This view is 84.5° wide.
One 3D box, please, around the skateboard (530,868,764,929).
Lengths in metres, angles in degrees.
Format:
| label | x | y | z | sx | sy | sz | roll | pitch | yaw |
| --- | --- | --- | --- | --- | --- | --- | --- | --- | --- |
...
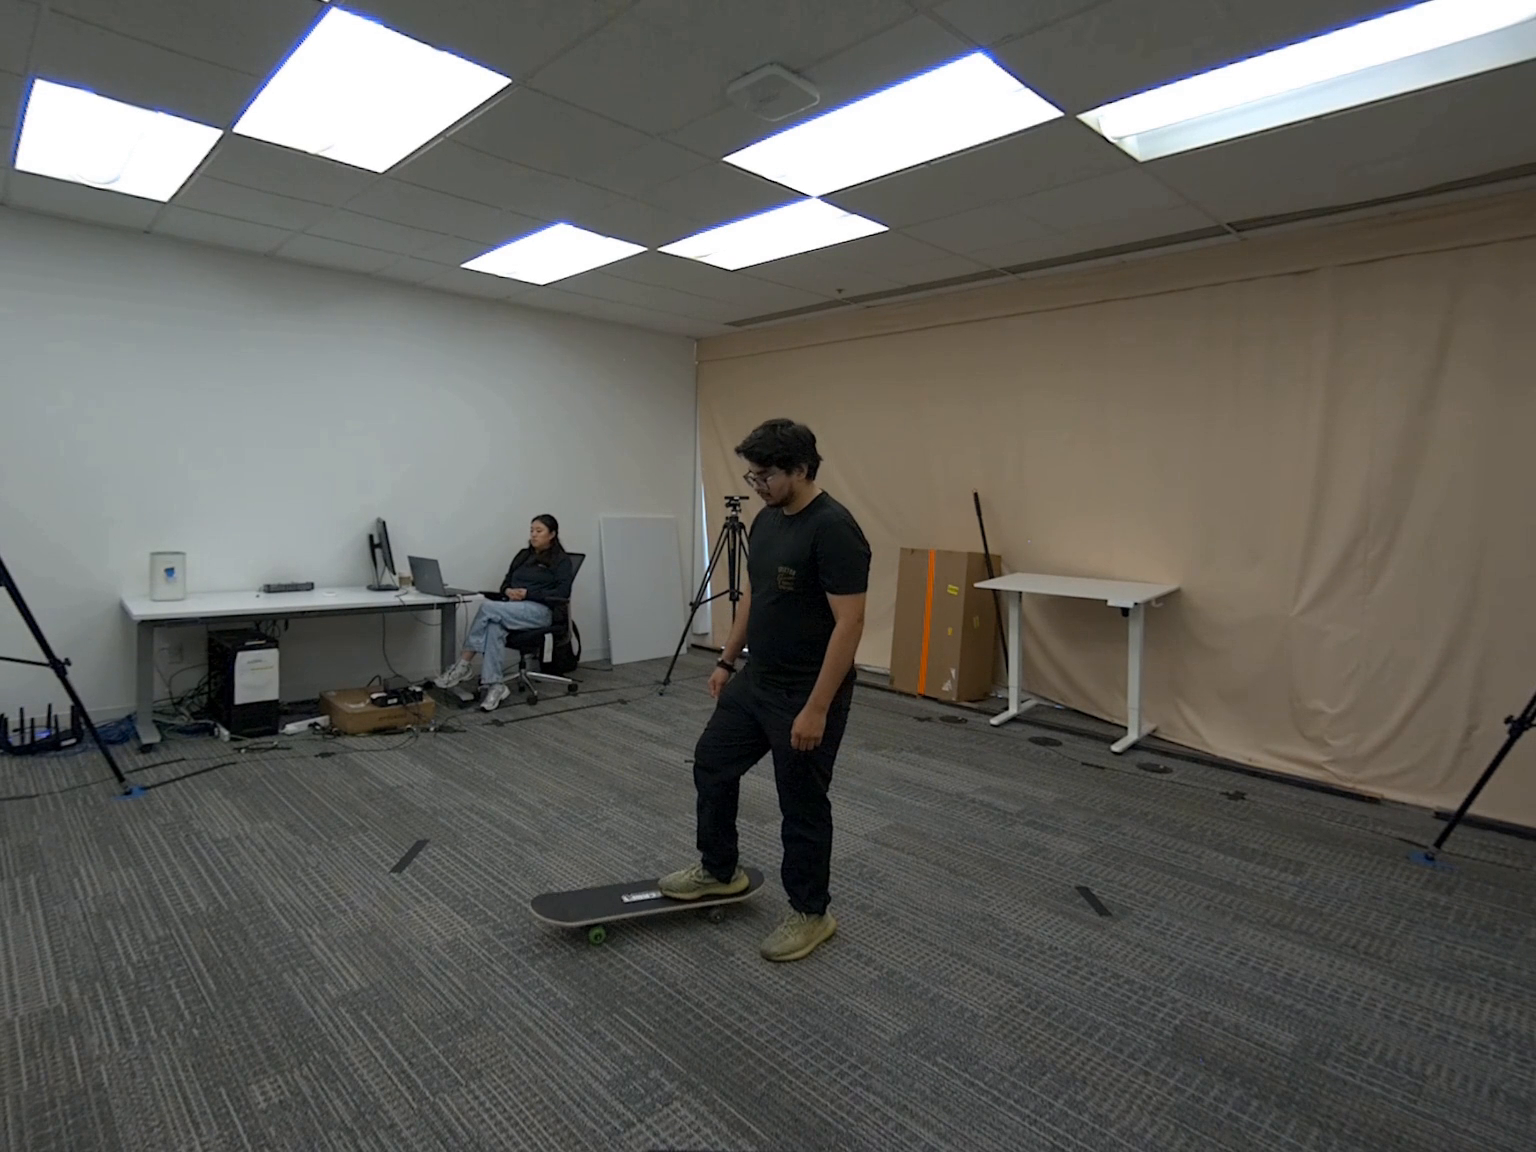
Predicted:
| label | x | y | z | sx | sy | sz | roll | pitch | yaw |
| --- | --- | --- | --- | --- | --- | --- | --- | --- | --- |
| skateboard | -0.379 | 1.070 | 2.748 | 0.773 | 0.110 | 0.197 | 0 | 8 | -22 |
